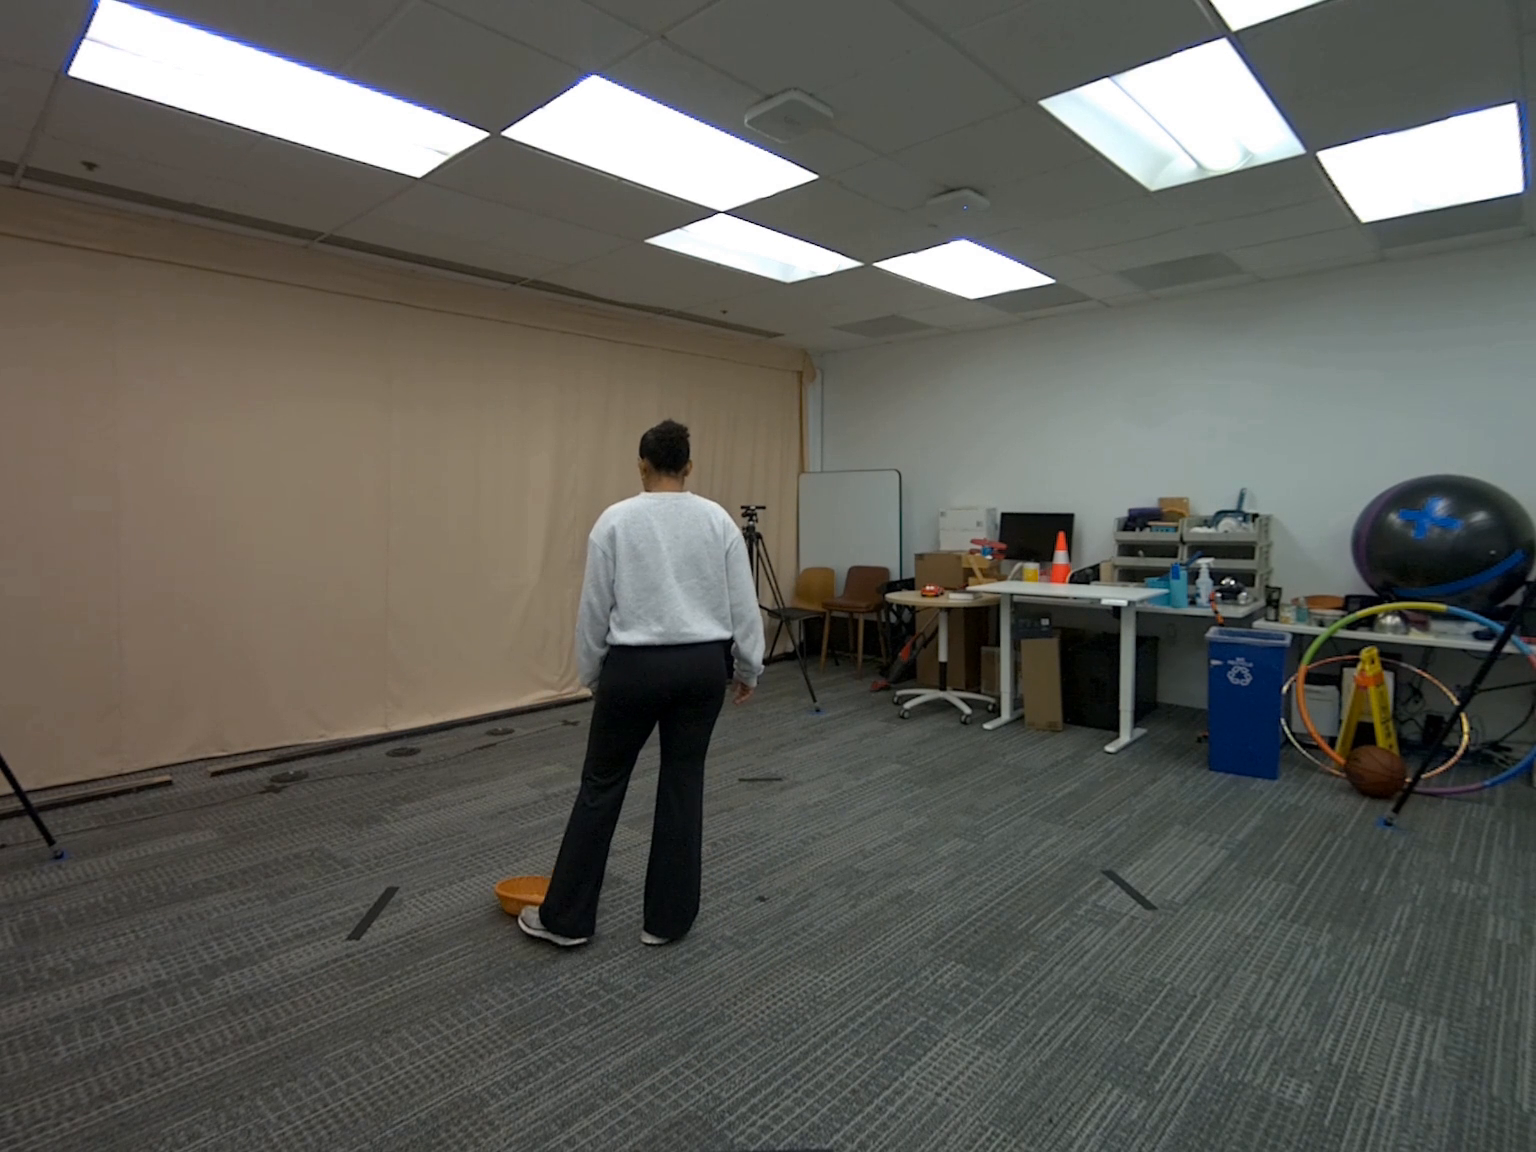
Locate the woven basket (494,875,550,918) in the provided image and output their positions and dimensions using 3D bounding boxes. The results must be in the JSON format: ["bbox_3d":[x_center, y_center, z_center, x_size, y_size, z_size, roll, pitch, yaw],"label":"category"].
[{"bbox_3d":[-0.762,1.107,2.903,0.357,0.073,0.247,1,-4,18],"label":"woven basket"}]
